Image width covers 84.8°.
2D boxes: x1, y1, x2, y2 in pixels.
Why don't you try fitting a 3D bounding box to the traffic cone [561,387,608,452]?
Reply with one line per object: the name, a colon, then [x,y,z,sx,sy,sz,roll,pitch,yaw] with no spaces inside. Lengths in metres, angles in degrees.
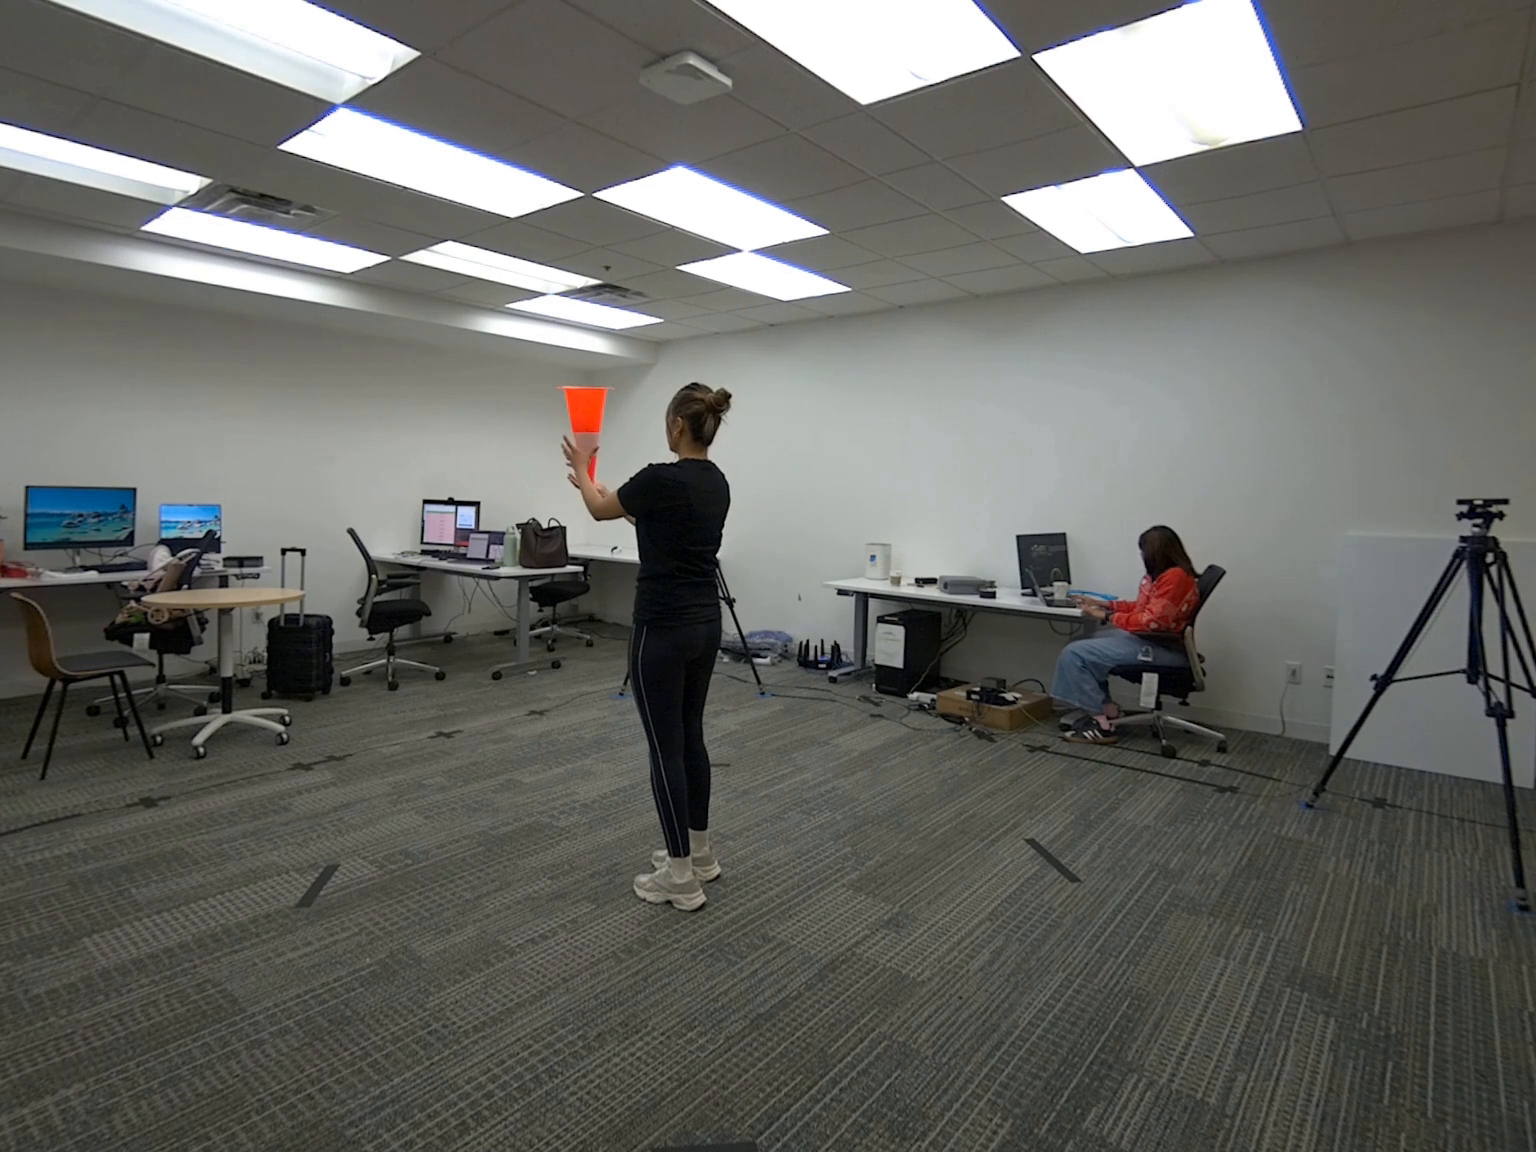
traffic cone: [-0.708,-0.528,3.228,0.205,0.381,0.205,1,8,-2]
